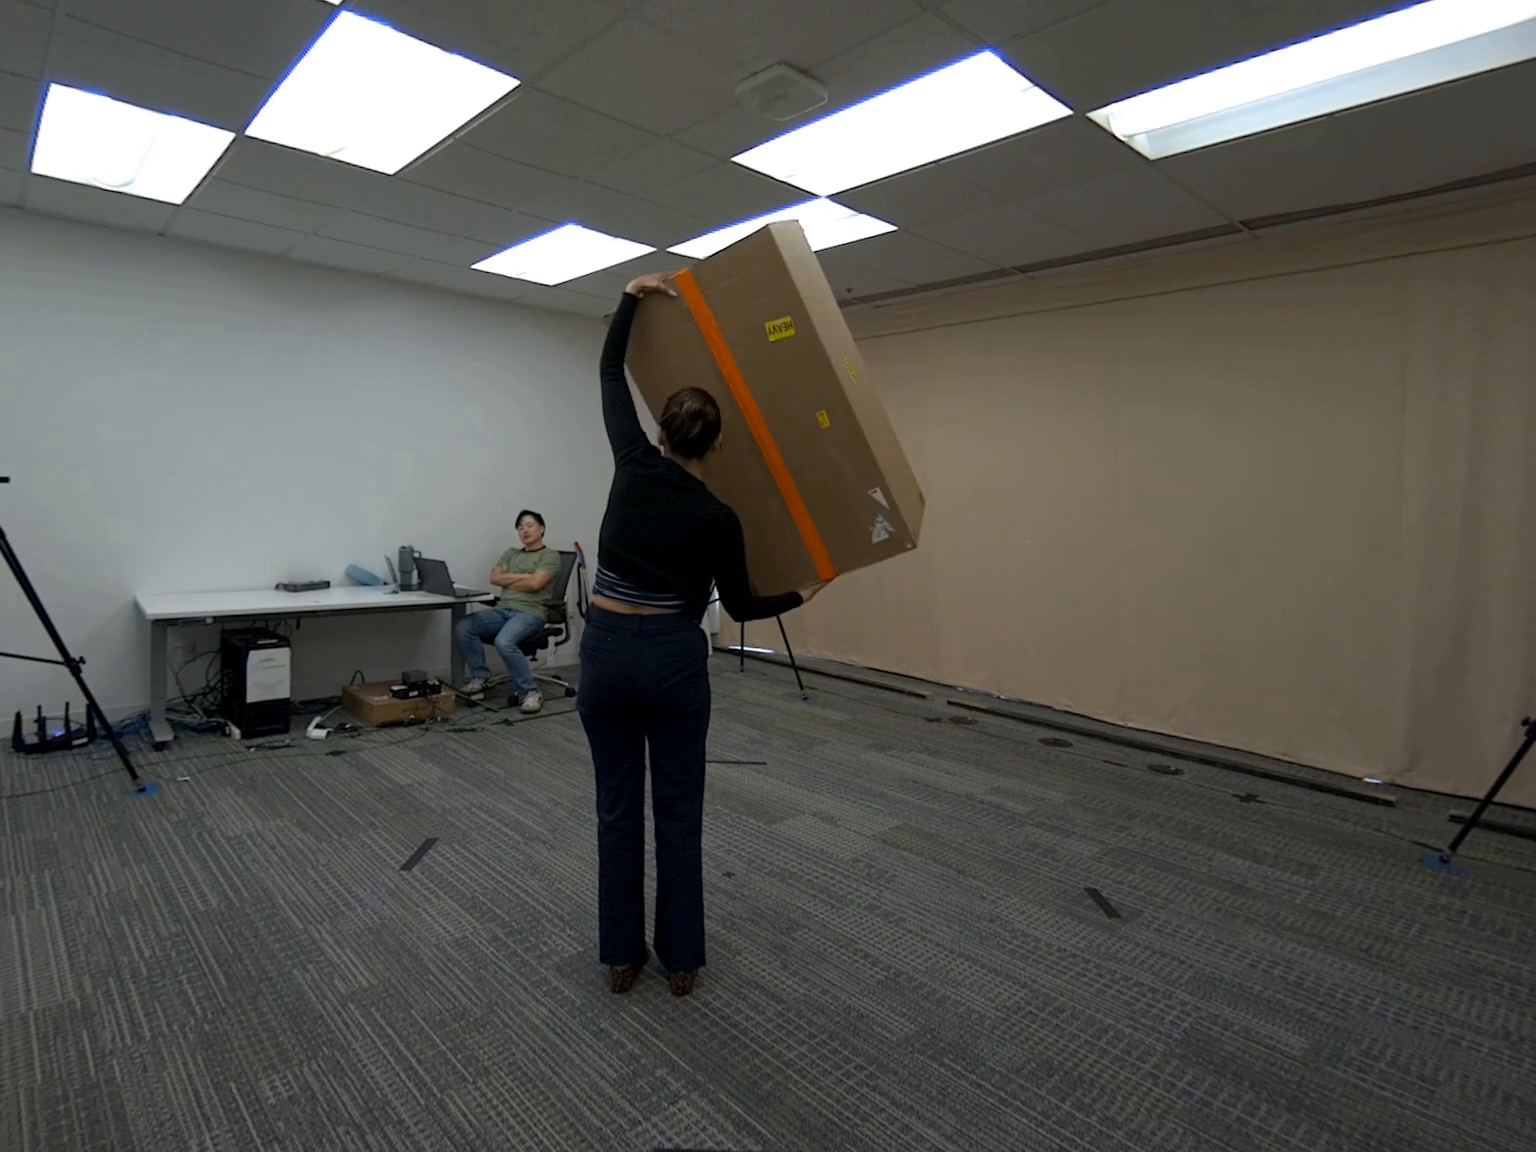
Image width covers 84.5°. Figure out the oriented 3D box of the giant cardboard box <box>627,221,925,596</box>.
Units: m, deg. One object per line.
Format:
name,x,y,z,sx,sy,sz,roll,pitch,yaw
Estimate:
giant cardboard box,0.011,-0.503,2.680,0.584,1.012,0.427,-20,15,24
